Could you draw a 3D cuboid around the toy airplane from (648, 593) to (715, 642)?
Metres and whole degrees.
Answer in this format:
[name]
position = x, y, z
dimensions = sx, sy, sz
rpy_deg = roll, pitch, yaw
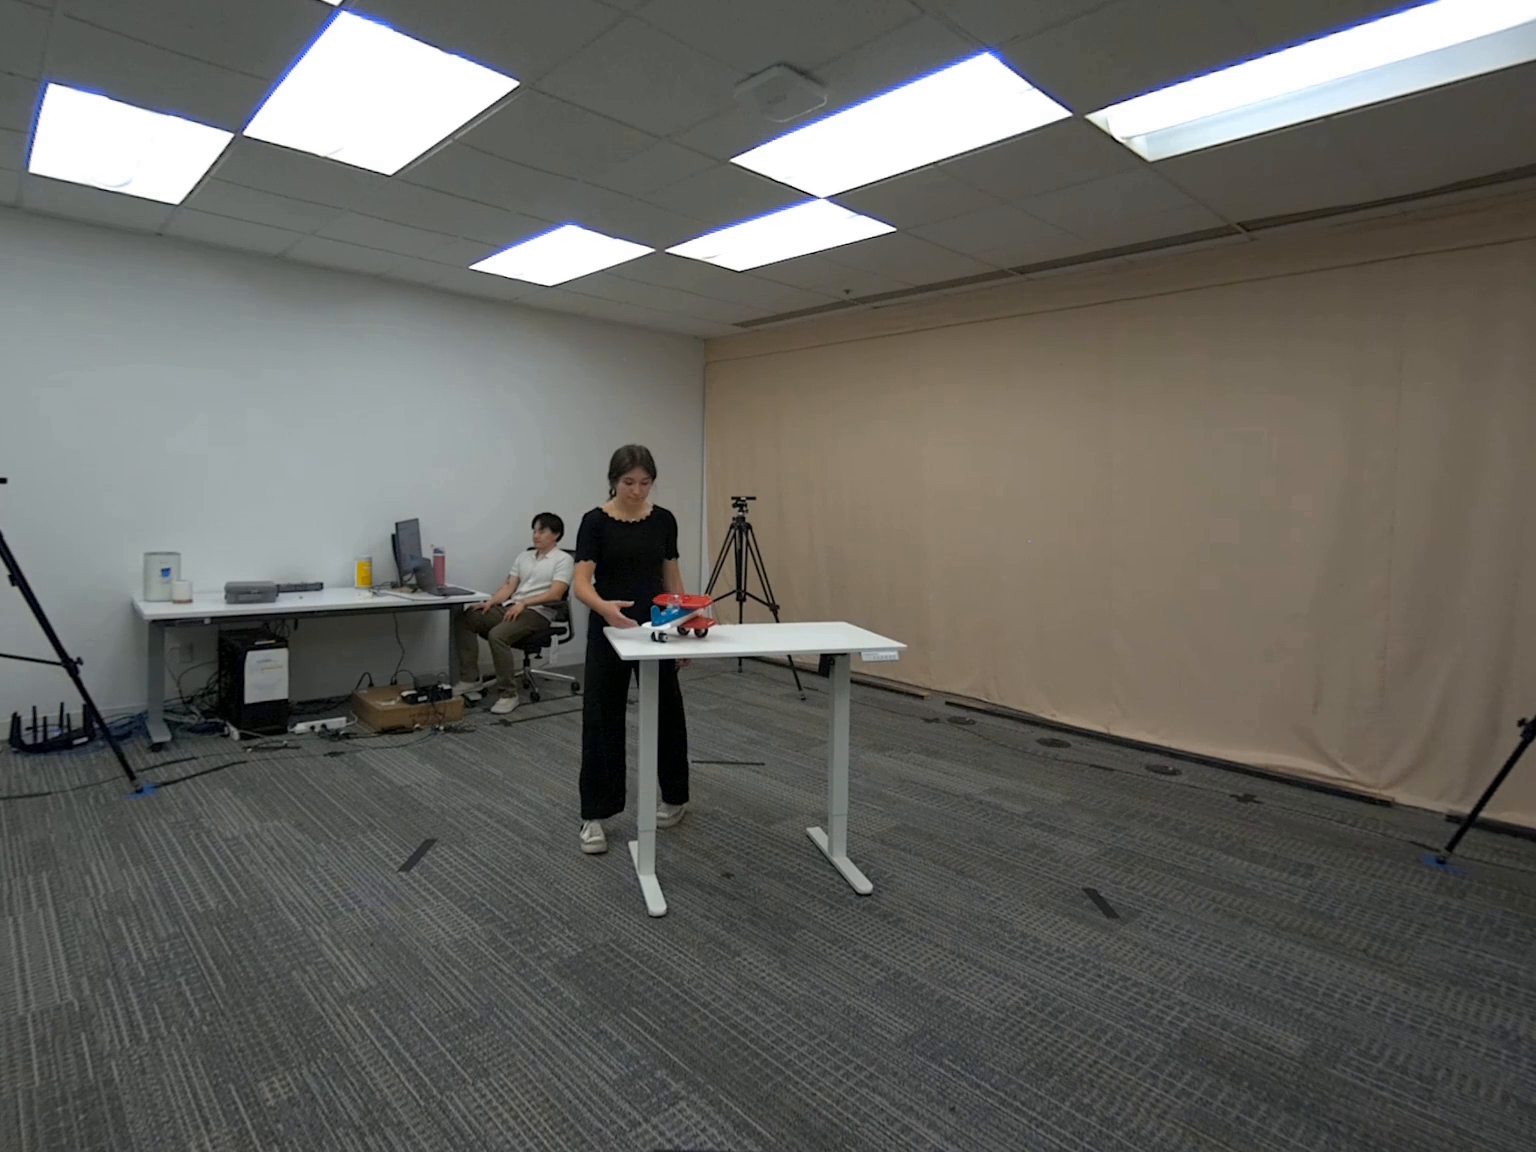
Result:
[toy airplane]
position = -0.315, 0.152, 3.017
dimensions = 0.253, 0.156, 0.258
rpy_deg = 0, 4, 8
